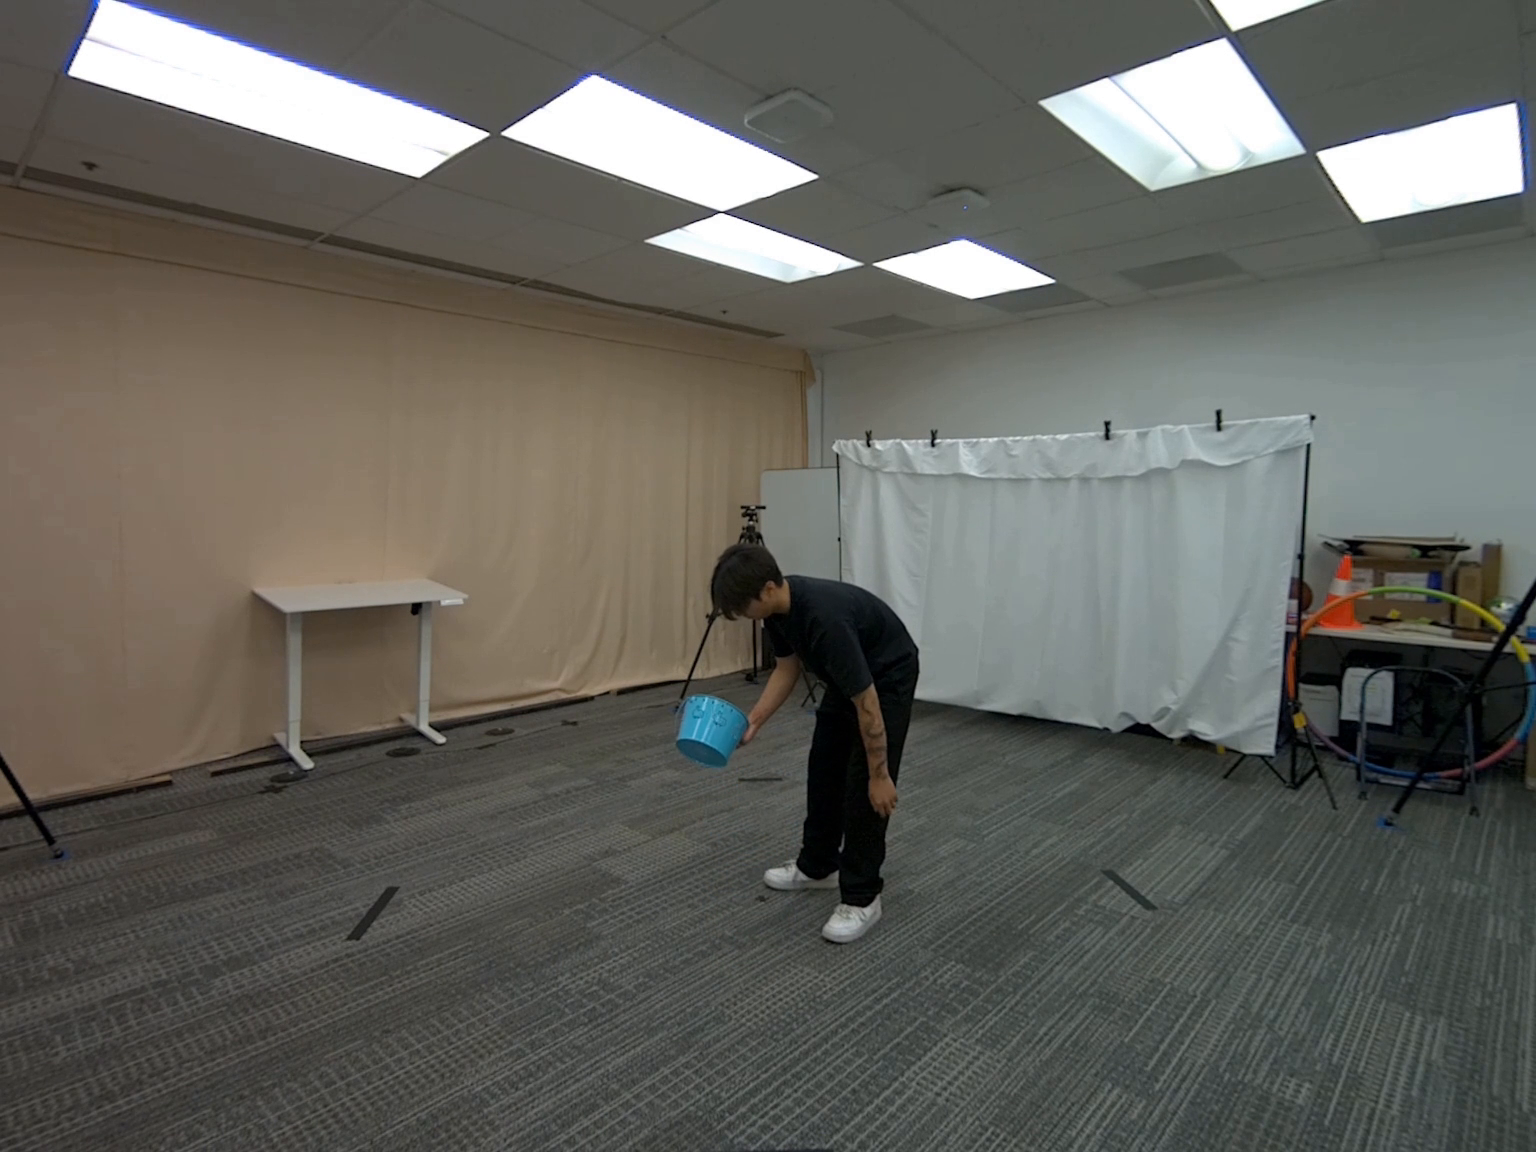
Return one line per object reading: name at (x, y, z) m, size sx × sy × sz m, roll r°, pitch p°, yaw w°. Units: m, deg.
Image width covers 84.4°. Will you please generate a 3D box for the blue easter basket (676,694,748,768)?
blue easter basket at (-0.187, 0.533, 2.815) m, size 0.247 × 0.156 × 0.239 m, roll 19°, pitch -34°, yaw 11°
